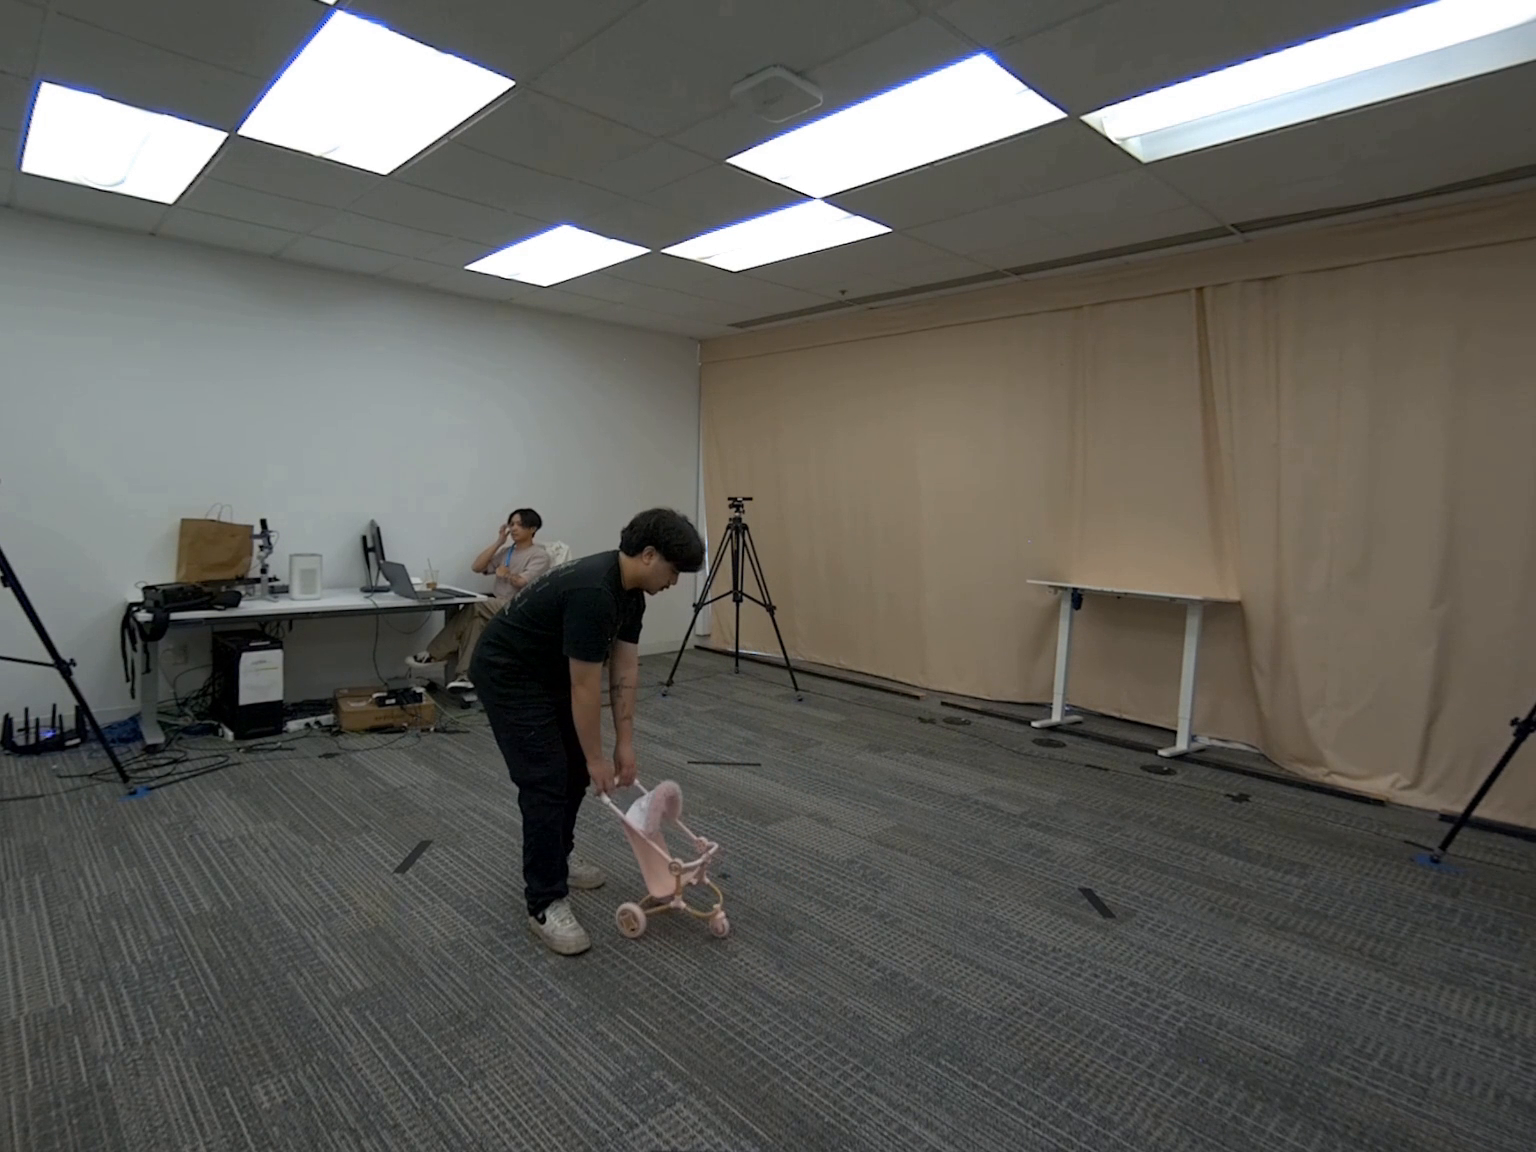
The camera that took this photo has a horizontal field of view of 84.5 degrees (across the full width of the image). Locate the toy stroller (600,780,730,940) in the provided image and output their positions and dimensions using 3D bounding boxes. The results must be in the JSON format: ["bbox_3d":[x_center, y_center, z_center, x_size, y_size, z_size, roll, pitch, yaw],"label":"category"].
[{"bbox_3d":[-0.324,0.916,2.733,0.346,0.537,0.277,-14,-3,26],"label":"toy stroller"}]
